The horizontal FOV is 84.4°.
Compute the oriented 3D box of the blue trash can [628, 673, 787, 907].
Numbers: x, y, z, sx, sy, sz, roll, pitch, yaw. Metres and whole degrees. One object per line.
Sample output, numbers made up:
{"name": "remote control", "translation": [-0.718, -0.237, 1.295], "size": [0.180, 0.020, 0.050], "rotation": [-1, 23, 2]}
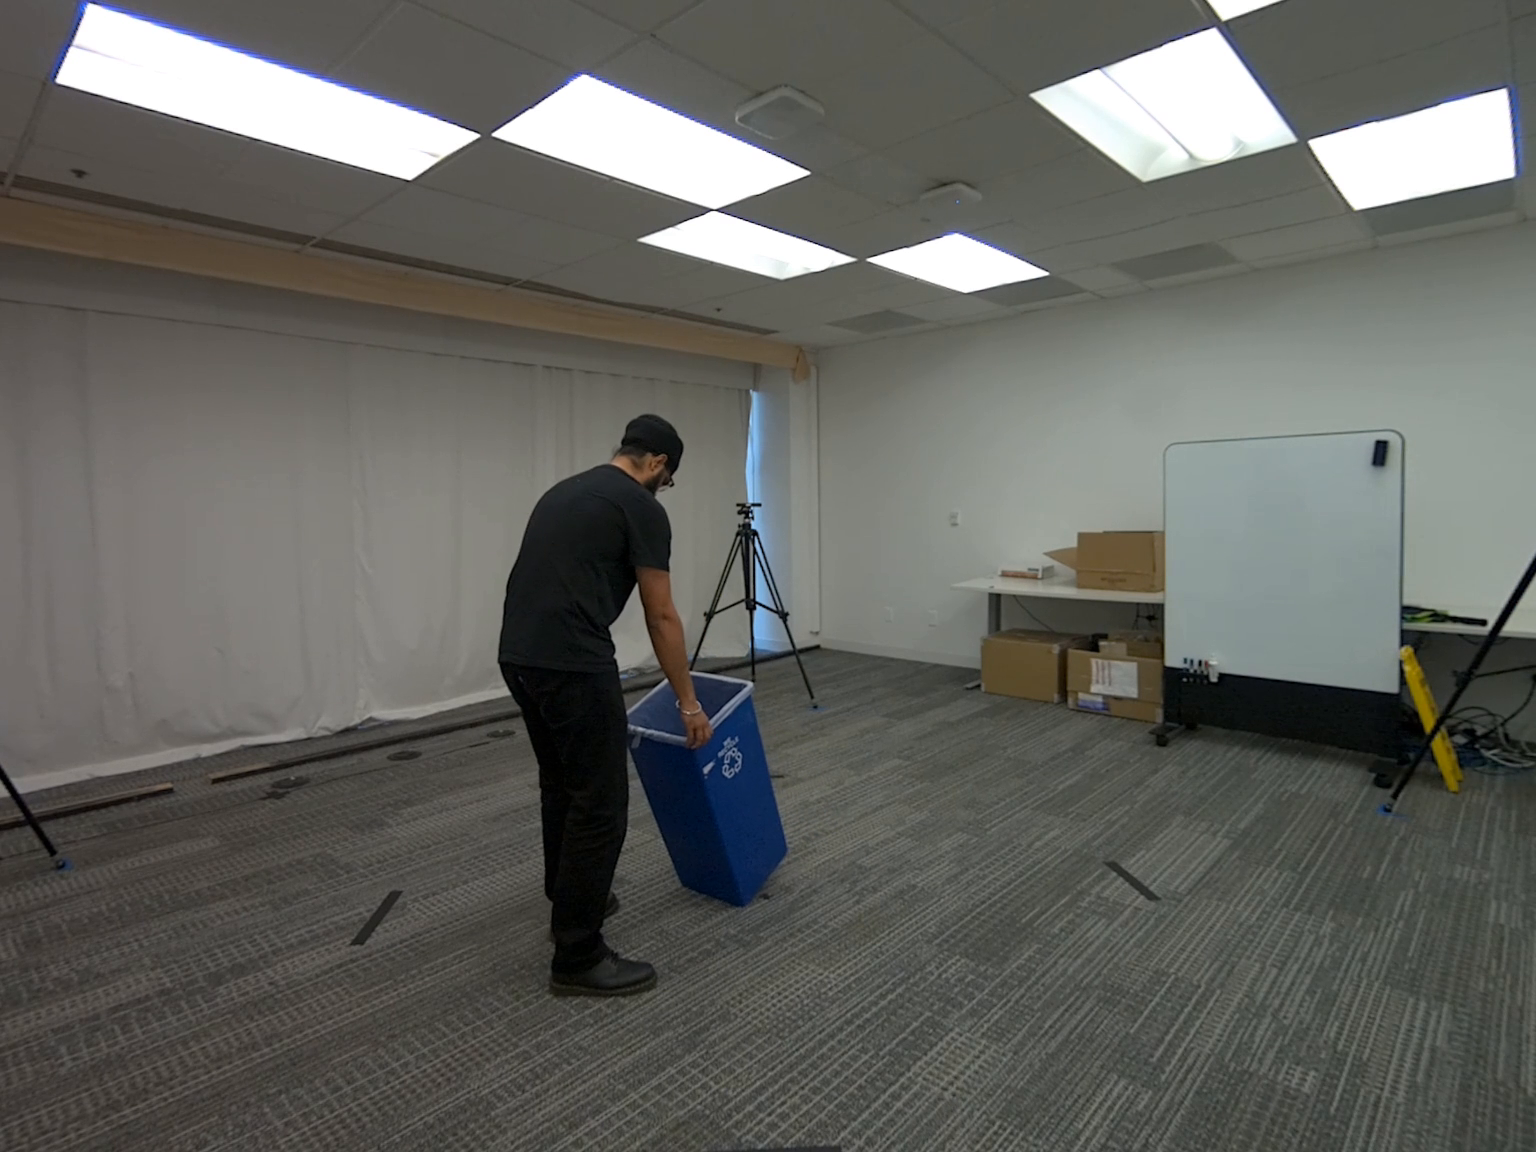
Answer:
{"name": "blue trash can", "translation": [-0.201, 0.757, 2.969], "size": [0.390, 0.702, 0.368], "rotation": [2, 25, 39]}
